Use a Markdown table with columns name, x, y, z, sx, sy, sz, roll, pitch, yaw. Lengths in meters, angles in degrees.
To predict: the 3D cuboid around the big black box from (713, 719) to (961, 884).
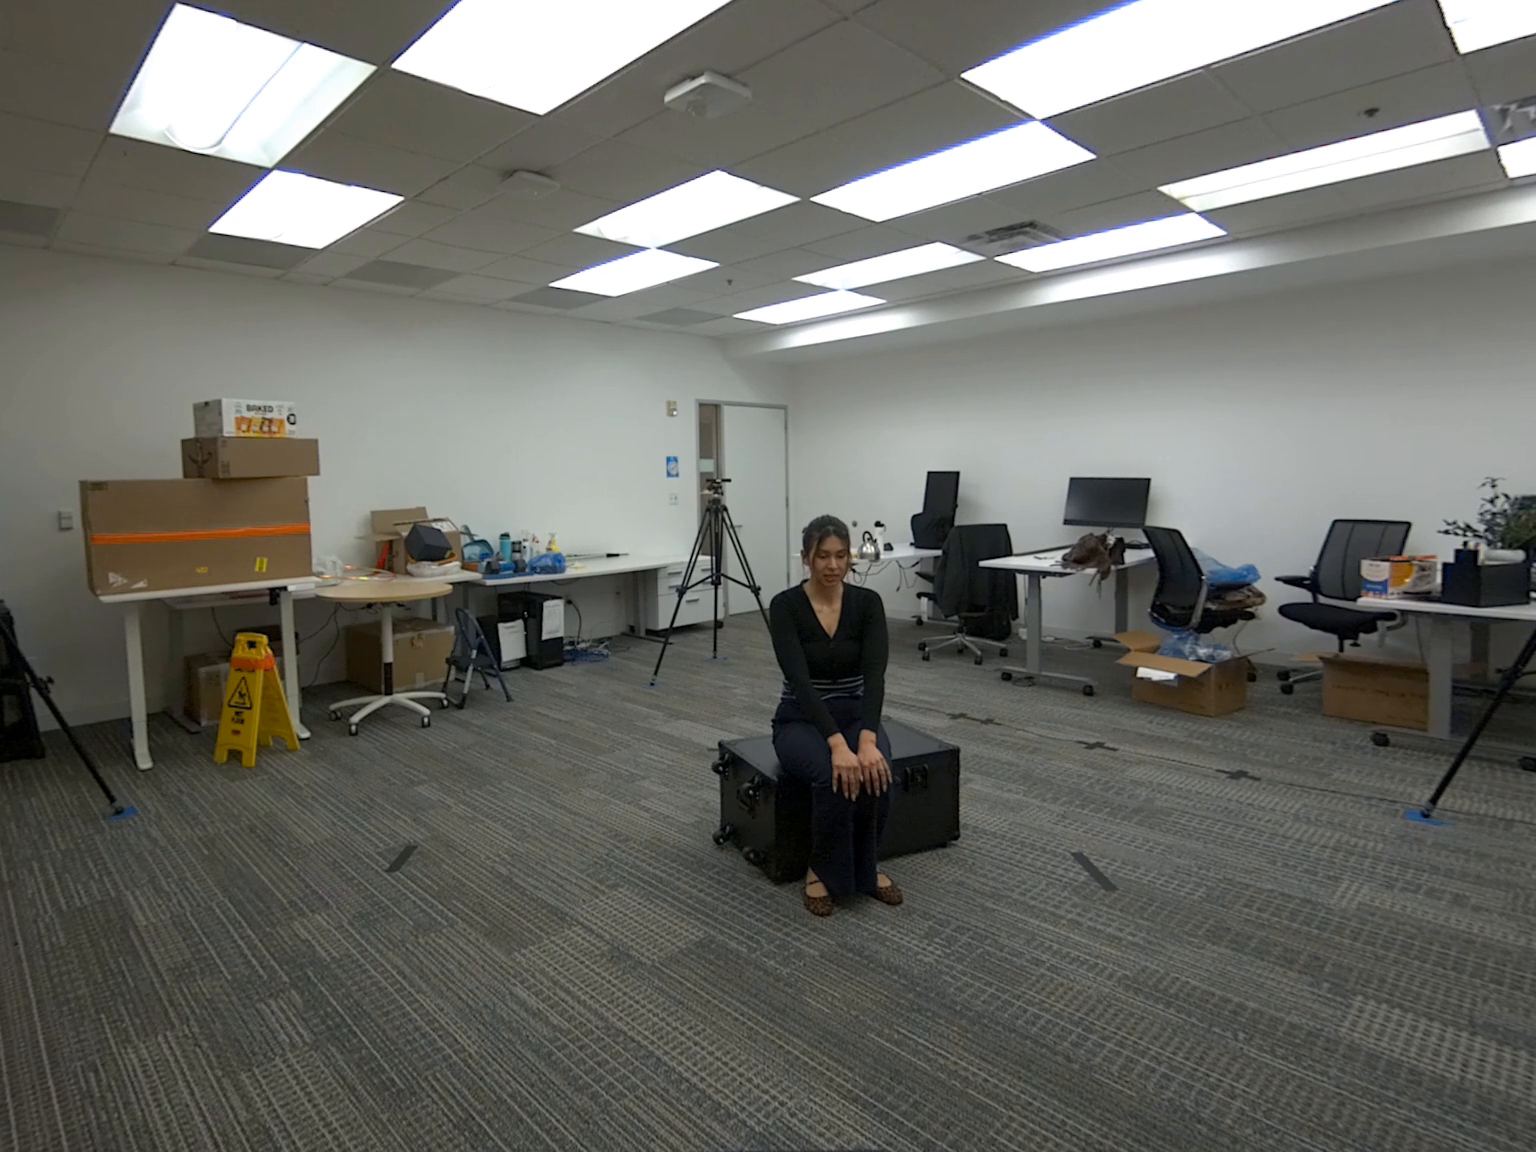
| name | x | y | z | sx | sy | sz | roll | pitch | yaw |
| --- | --- | --- | --- | --- | --- | --- | --- | --- | --- |
| big black box | 0.294 | 0.827 | 3.290 | 0.844 | 0.394 | 0.534 | -4 | 6 | -25 |
